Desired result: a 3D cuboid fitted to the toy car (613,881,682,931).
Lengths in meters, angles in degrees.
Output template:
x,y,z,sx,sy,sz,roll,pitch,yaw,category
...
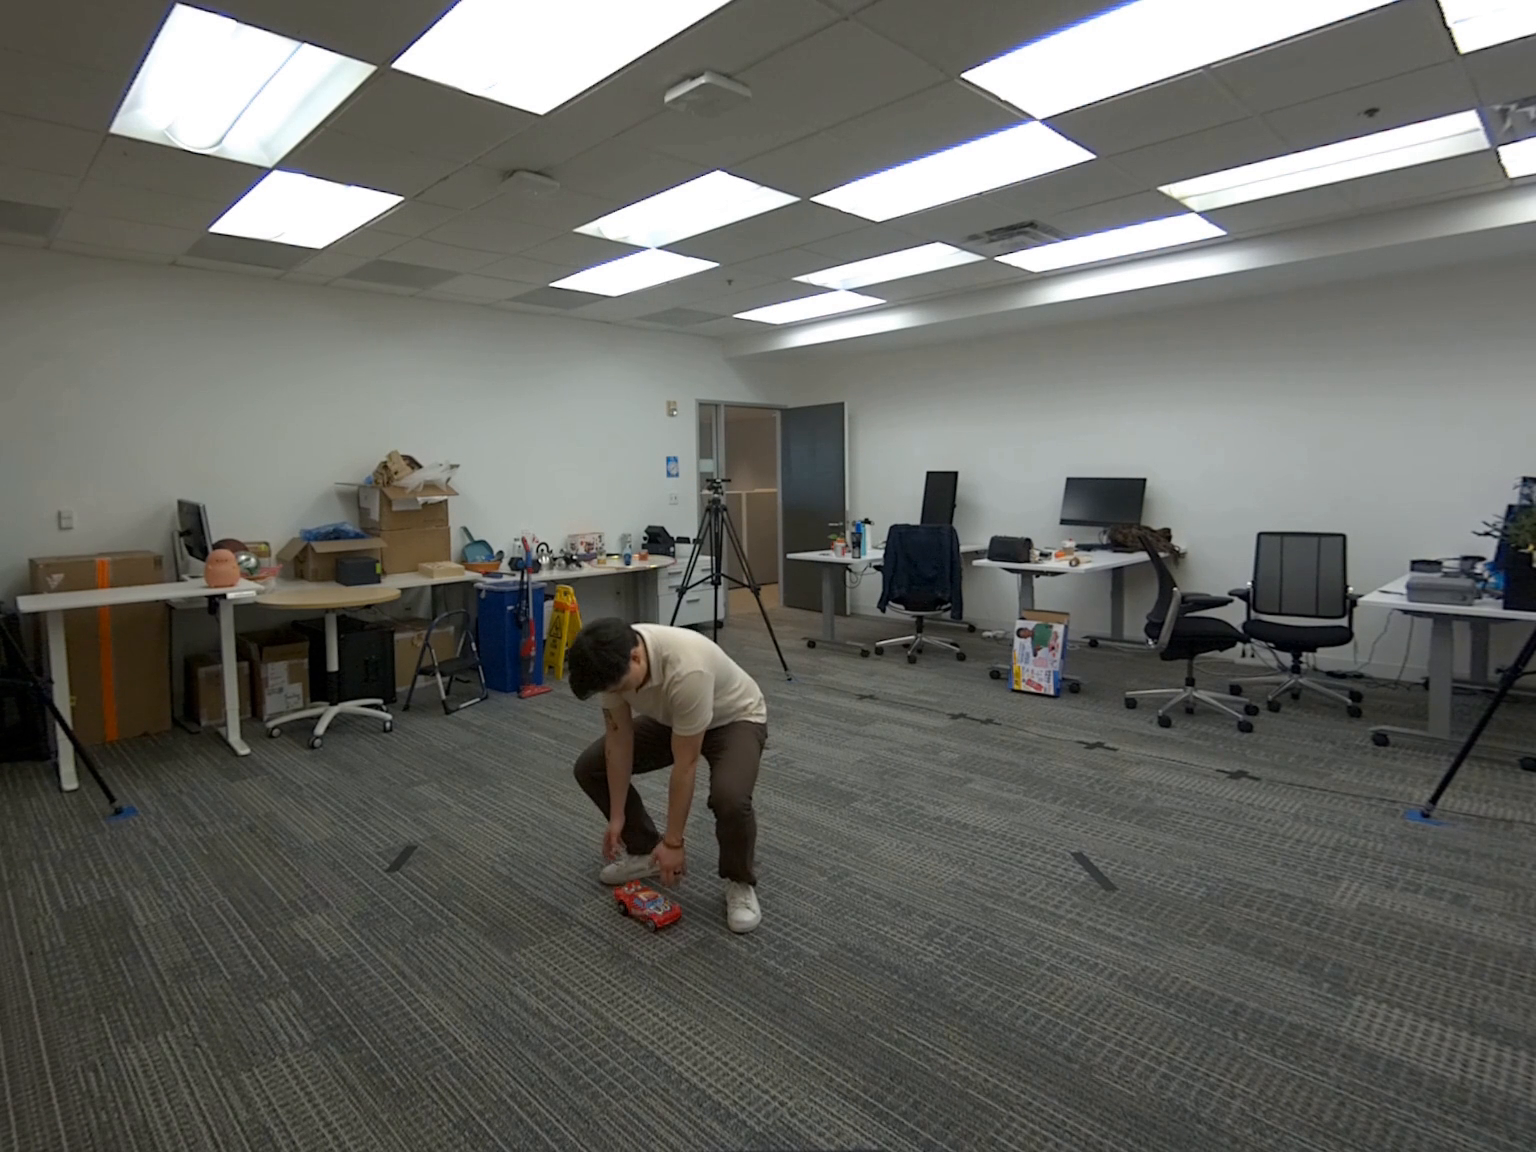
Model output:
x,y,z,sx,sy,sz,roll,pitch,yaw,category
-0.389,1.062,2.748,0.127,0.082,0.264,-7,19,-43,toy car
